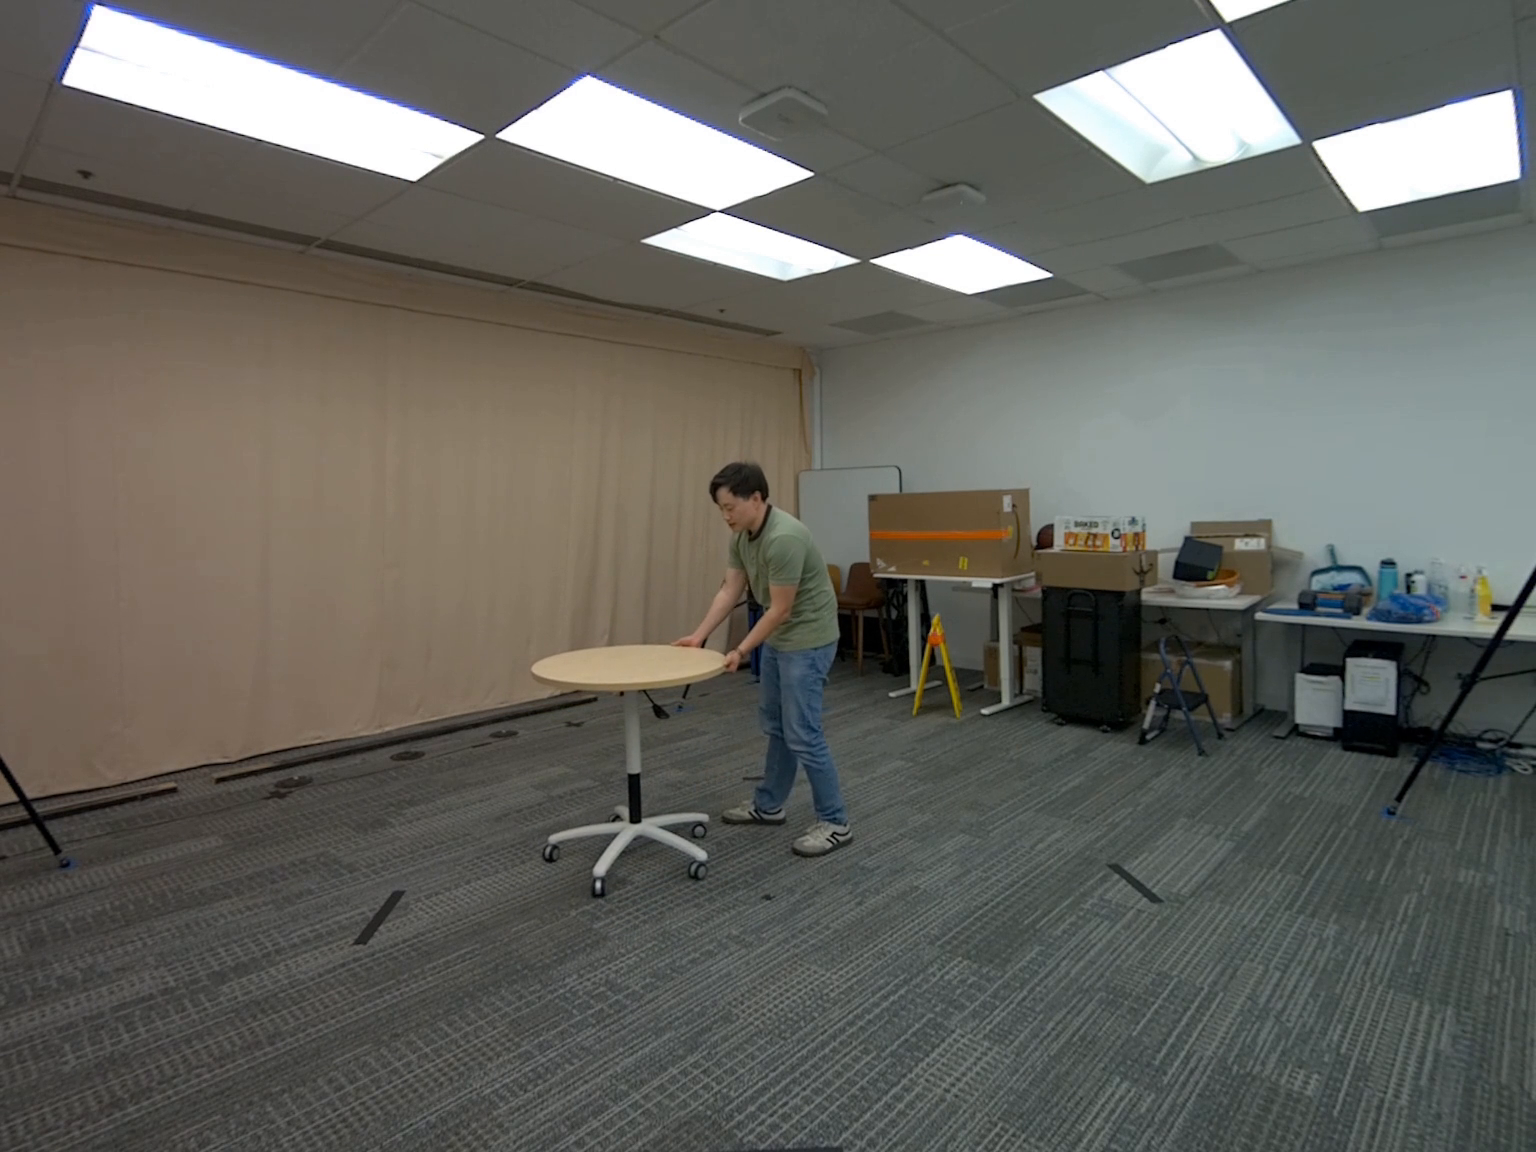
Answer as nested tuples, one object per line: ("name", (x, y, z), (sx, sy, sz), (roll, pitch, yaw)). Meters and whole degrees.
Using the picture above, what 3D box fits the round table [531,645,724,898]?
("round table", (-0.539, 0.734, 3.334), (0.763, 0.792, 0.767), (-1, 4, -2))
